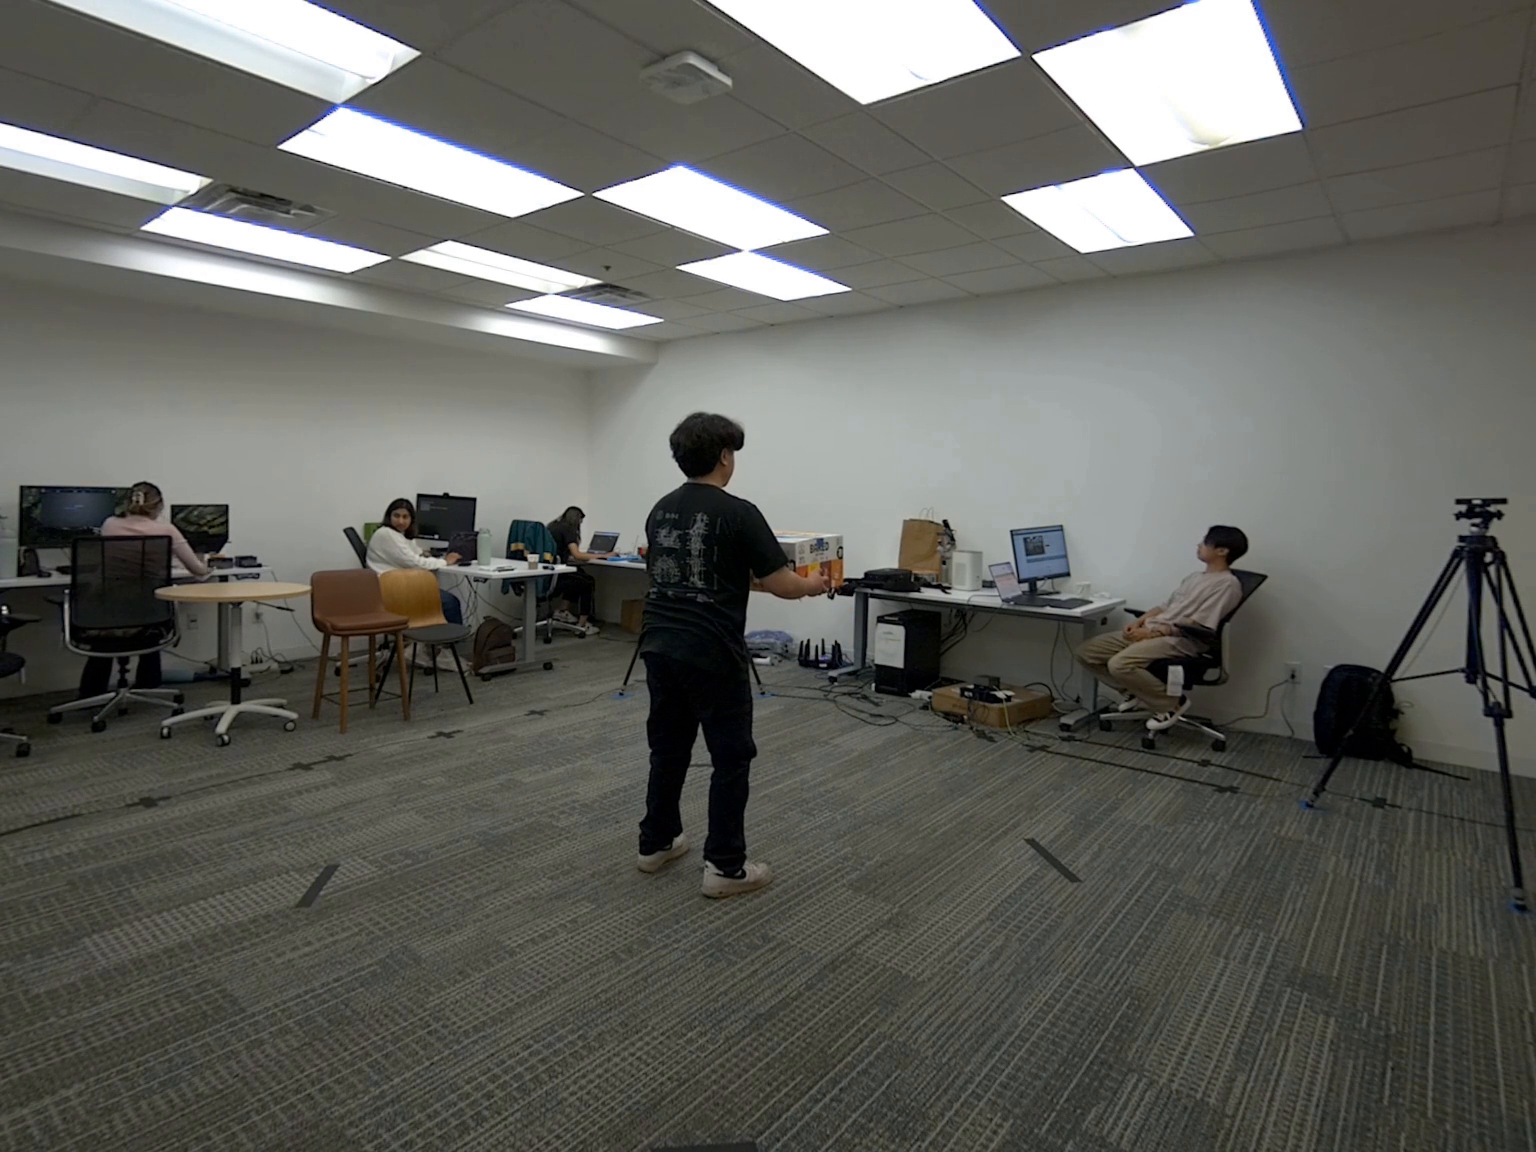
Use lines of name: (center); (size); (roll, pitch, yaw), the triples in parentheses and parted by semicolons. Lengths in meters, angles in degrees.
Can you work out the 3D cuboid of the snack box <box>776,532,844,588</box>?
snack box: (0.026, -0.058, 3.374); (0.418, 0.204, 0.331); (4, 9, 37)
